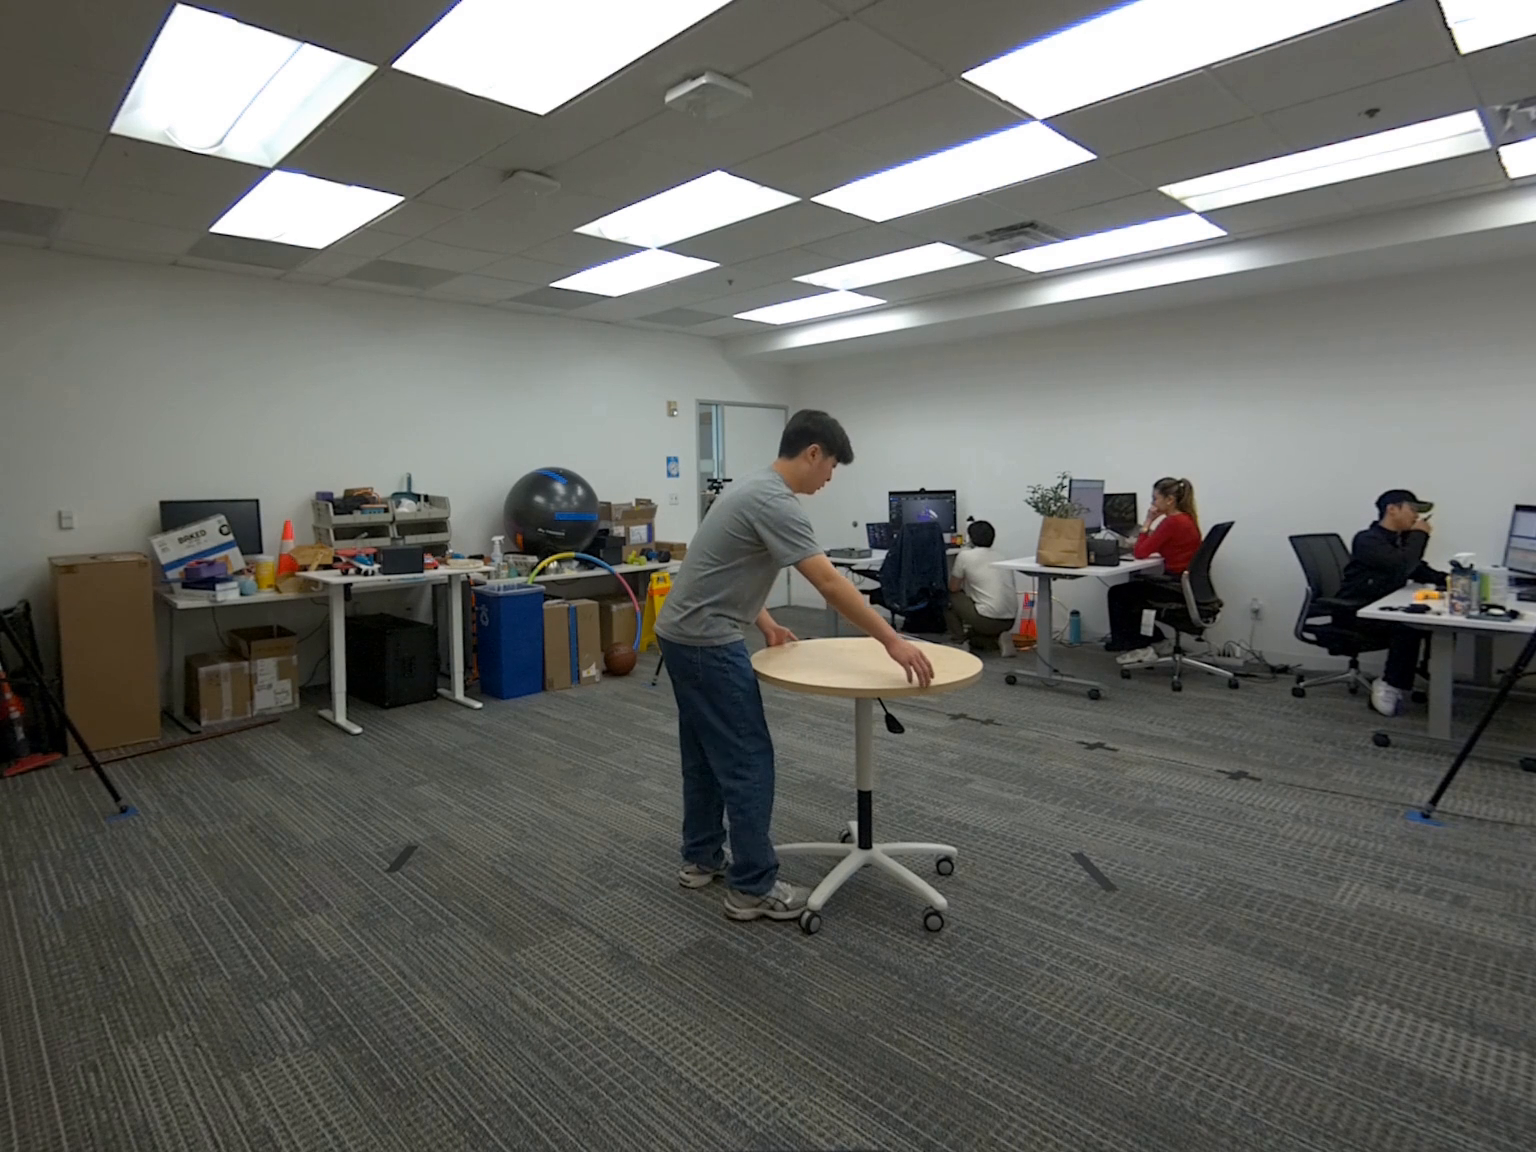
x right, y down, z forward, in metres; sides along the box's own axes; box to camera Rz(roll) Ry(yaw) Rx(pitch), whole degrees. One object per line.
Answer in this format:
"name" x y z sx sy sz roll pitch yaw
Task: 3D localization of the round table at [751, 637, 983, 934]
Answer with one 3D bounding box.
"round table" 0.330 0.671 2.887 0.763 0.790 0.768 -1 6 -2
